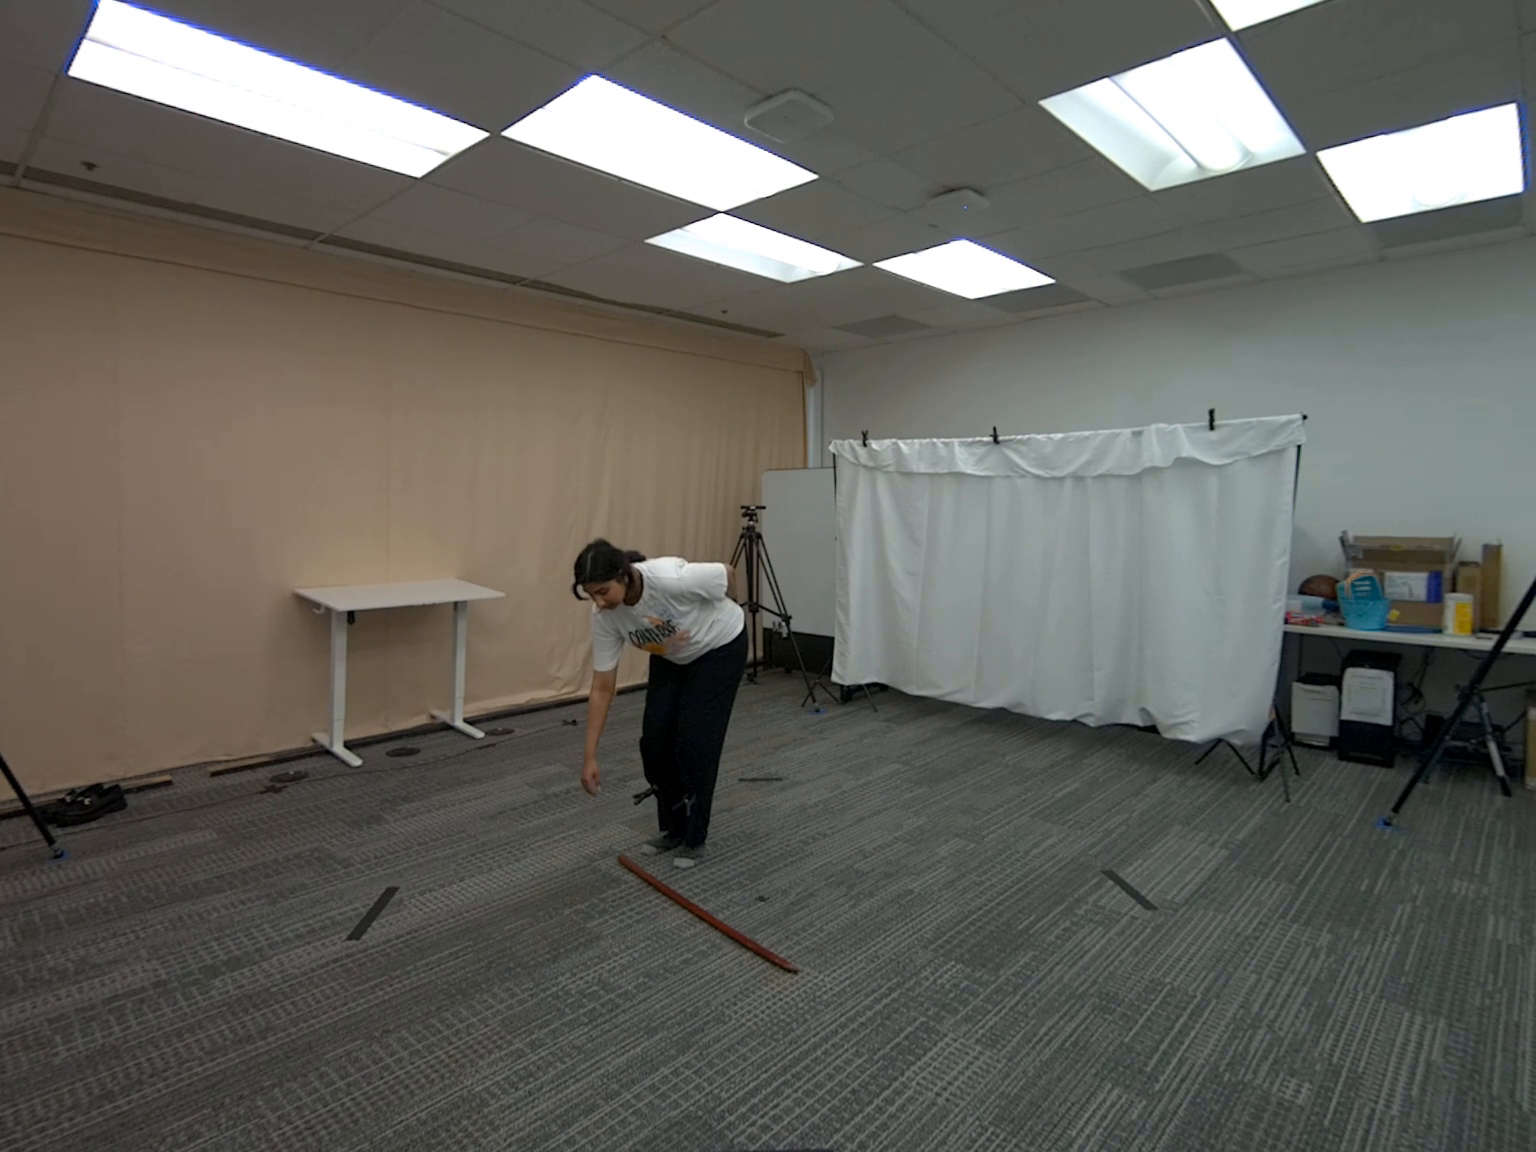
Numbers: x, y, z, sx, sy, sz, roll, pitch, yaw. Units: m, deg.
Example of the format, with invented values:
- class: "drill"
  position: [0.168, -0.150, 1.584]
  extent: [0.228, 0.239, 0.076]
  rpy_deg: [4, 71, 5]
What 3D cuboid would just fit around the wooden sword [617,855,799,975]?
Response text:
- class: "wooden sword"
  position: [-0.249, 1.129, 2.910]
  extent: [0.050, 0.024, 1.058]
  rpy_deg: [-7, 8, -38]
